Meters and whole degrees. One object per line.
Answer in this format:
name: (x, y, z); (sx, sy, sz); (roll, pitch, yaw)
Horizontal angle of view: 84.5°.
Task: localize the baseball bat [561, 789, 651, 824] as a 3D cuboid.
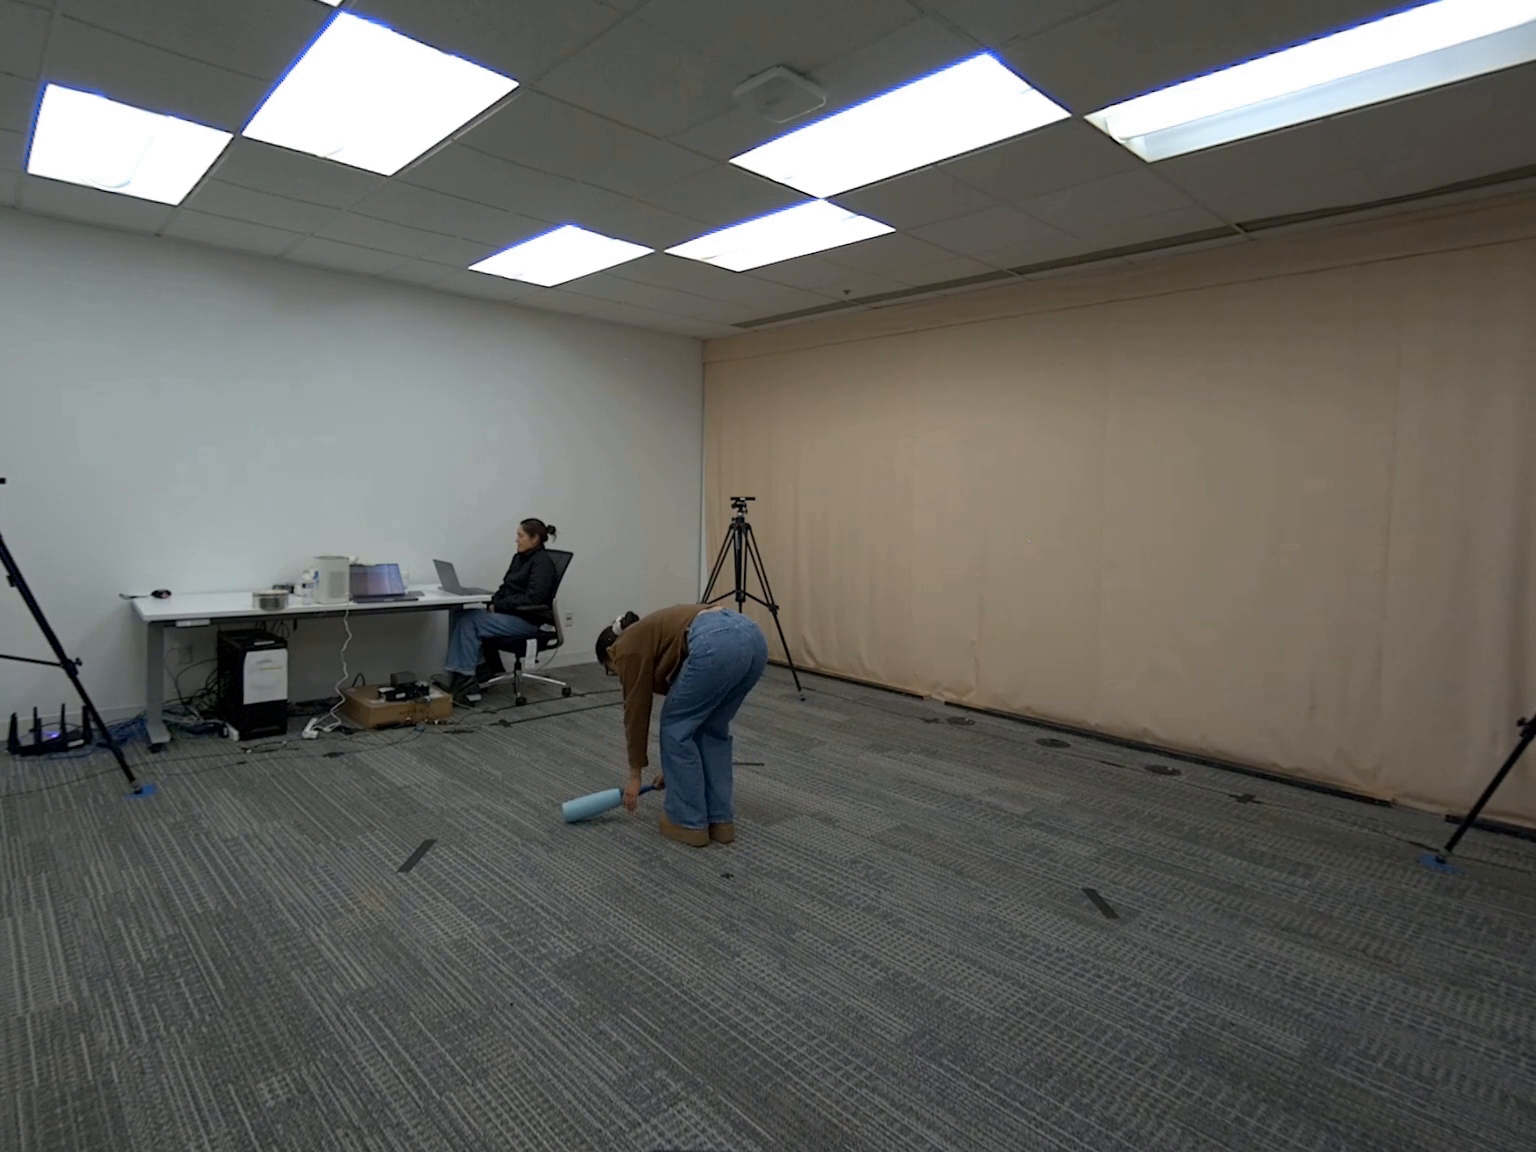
baseball bat: (-0.610, 0.932, 3.626); (0.539, 0.088, 0.090); (-12, 7, -11)
